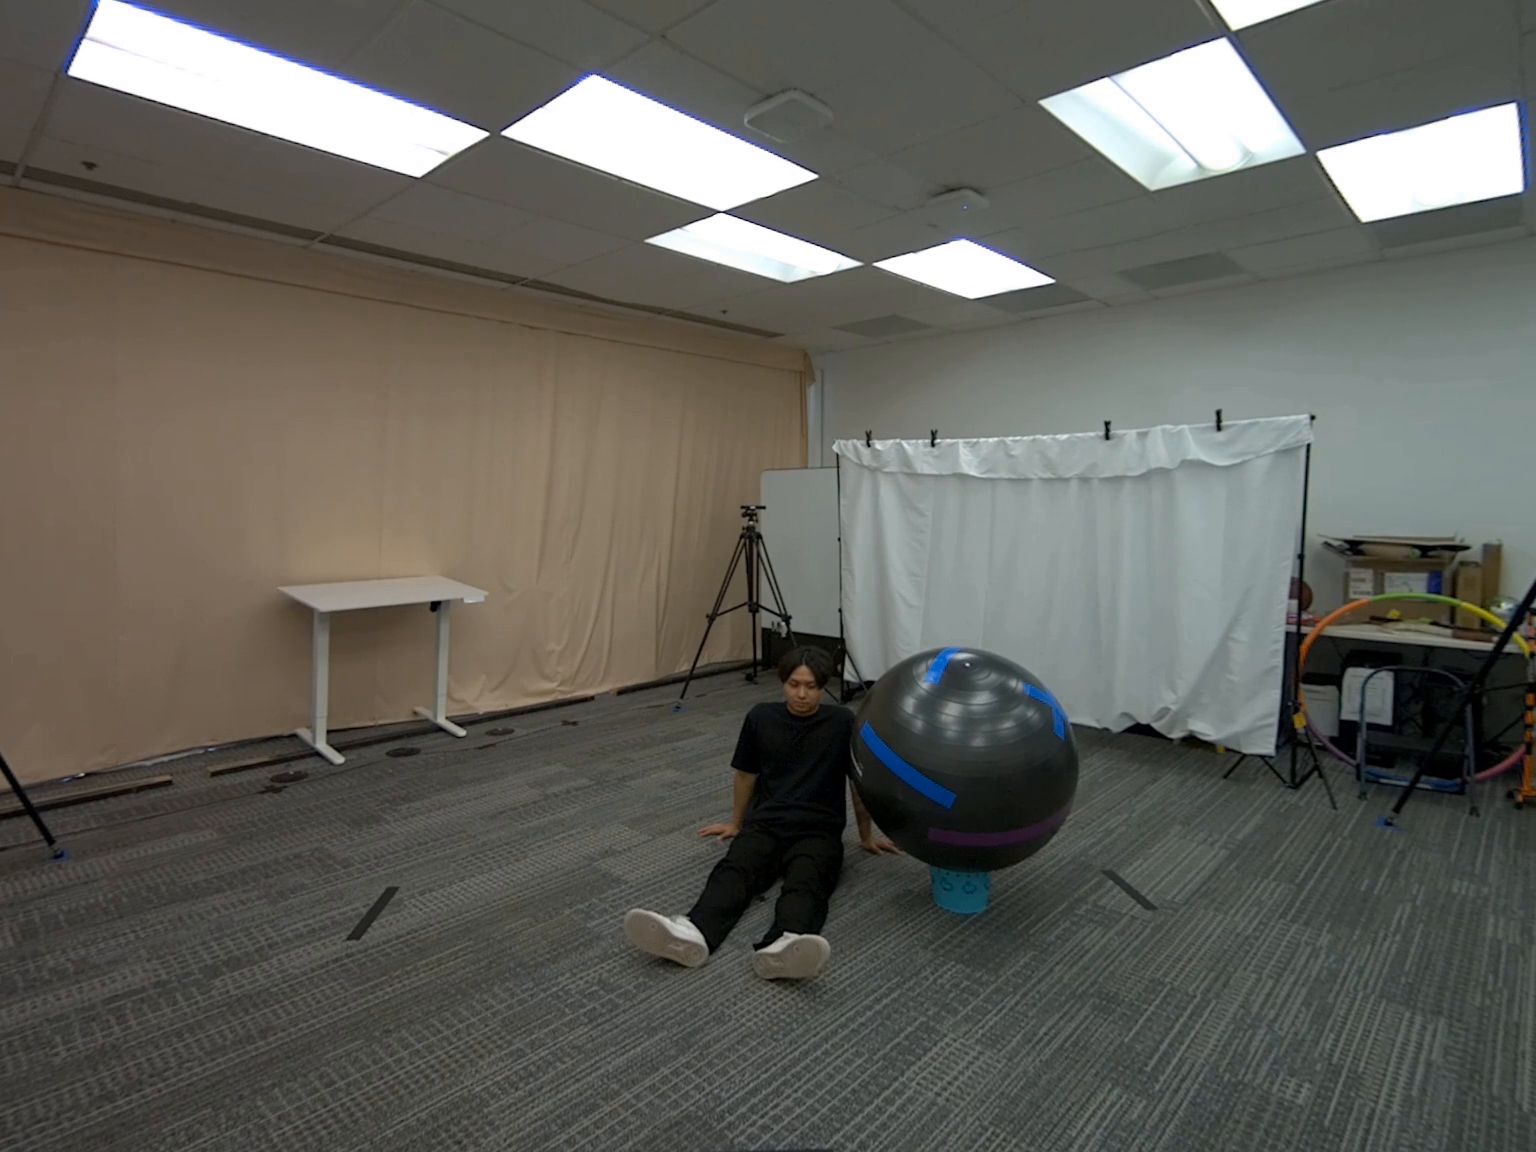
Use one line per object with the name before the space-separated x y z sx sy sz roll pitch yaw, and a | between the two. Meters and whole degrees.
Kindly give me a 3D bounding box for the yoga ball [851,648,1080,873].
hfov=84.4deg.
yoga ball | 0.687 0.638 2.933 0.757 0.756 0.760 0 4 -2
